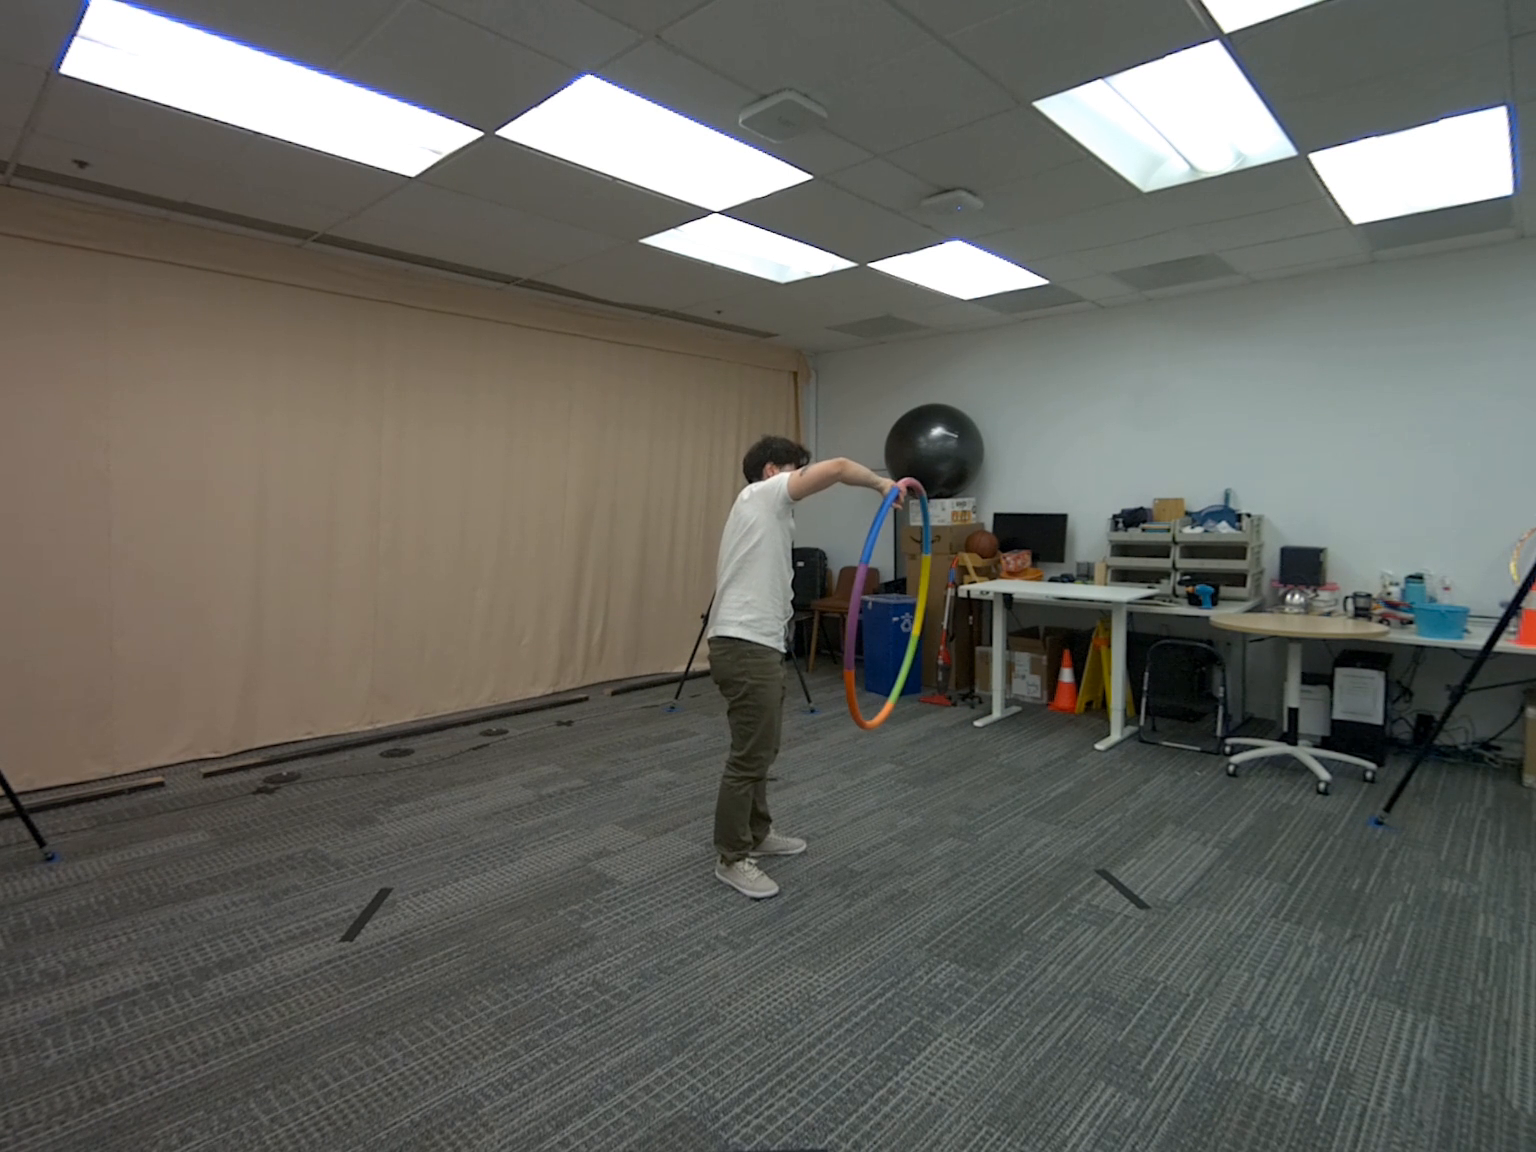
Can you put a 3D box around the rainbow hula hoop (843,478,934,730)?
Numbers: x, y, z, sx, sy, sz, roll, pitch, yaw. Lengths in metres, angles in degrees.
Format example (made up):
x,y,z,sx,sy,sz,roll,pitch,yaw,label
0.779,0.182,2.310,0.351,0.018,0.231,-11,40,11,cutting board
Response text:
x,y,z,sx,sy,sz,roll,pitch,yaw,label
0.494,0.112,3.298,0.036,0.975,0.955,9,8,25,rainbow hula hoop
